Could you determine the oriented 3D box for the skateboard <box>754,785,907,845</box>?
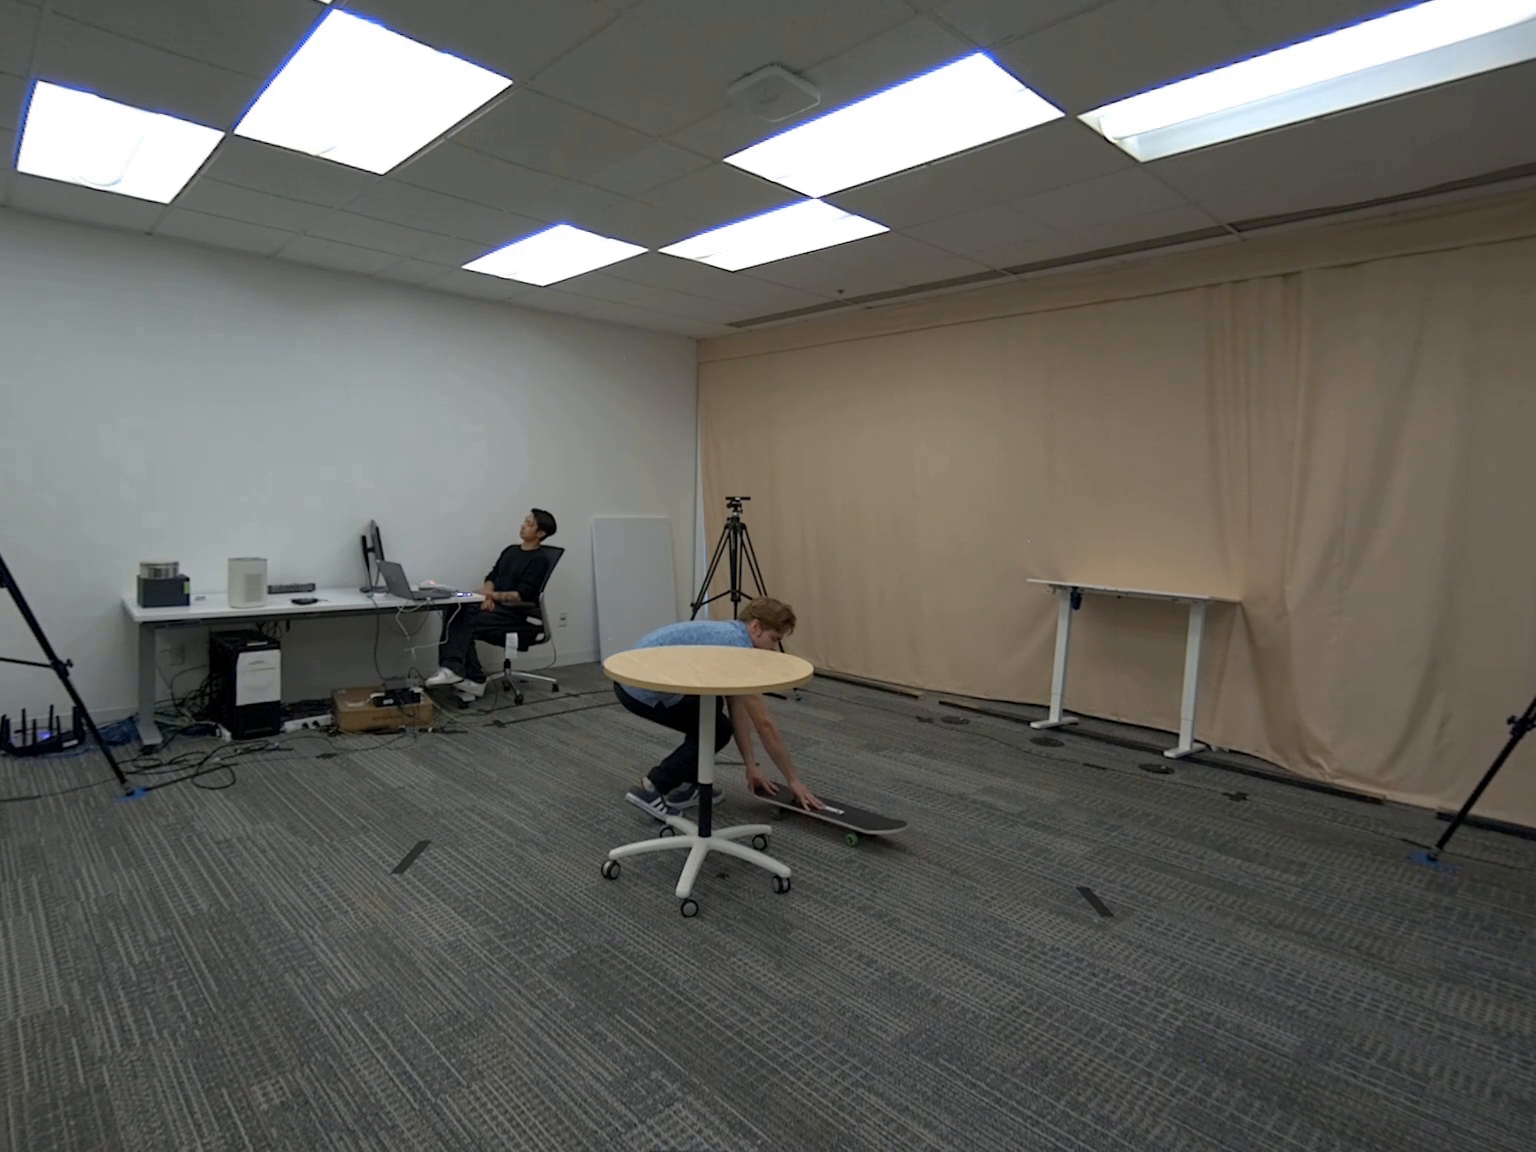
[{"bbox_3d":[0.225,1.018,3.598,0.805,0.110,0.189,5,6,41],"label":"skateboard"}]
